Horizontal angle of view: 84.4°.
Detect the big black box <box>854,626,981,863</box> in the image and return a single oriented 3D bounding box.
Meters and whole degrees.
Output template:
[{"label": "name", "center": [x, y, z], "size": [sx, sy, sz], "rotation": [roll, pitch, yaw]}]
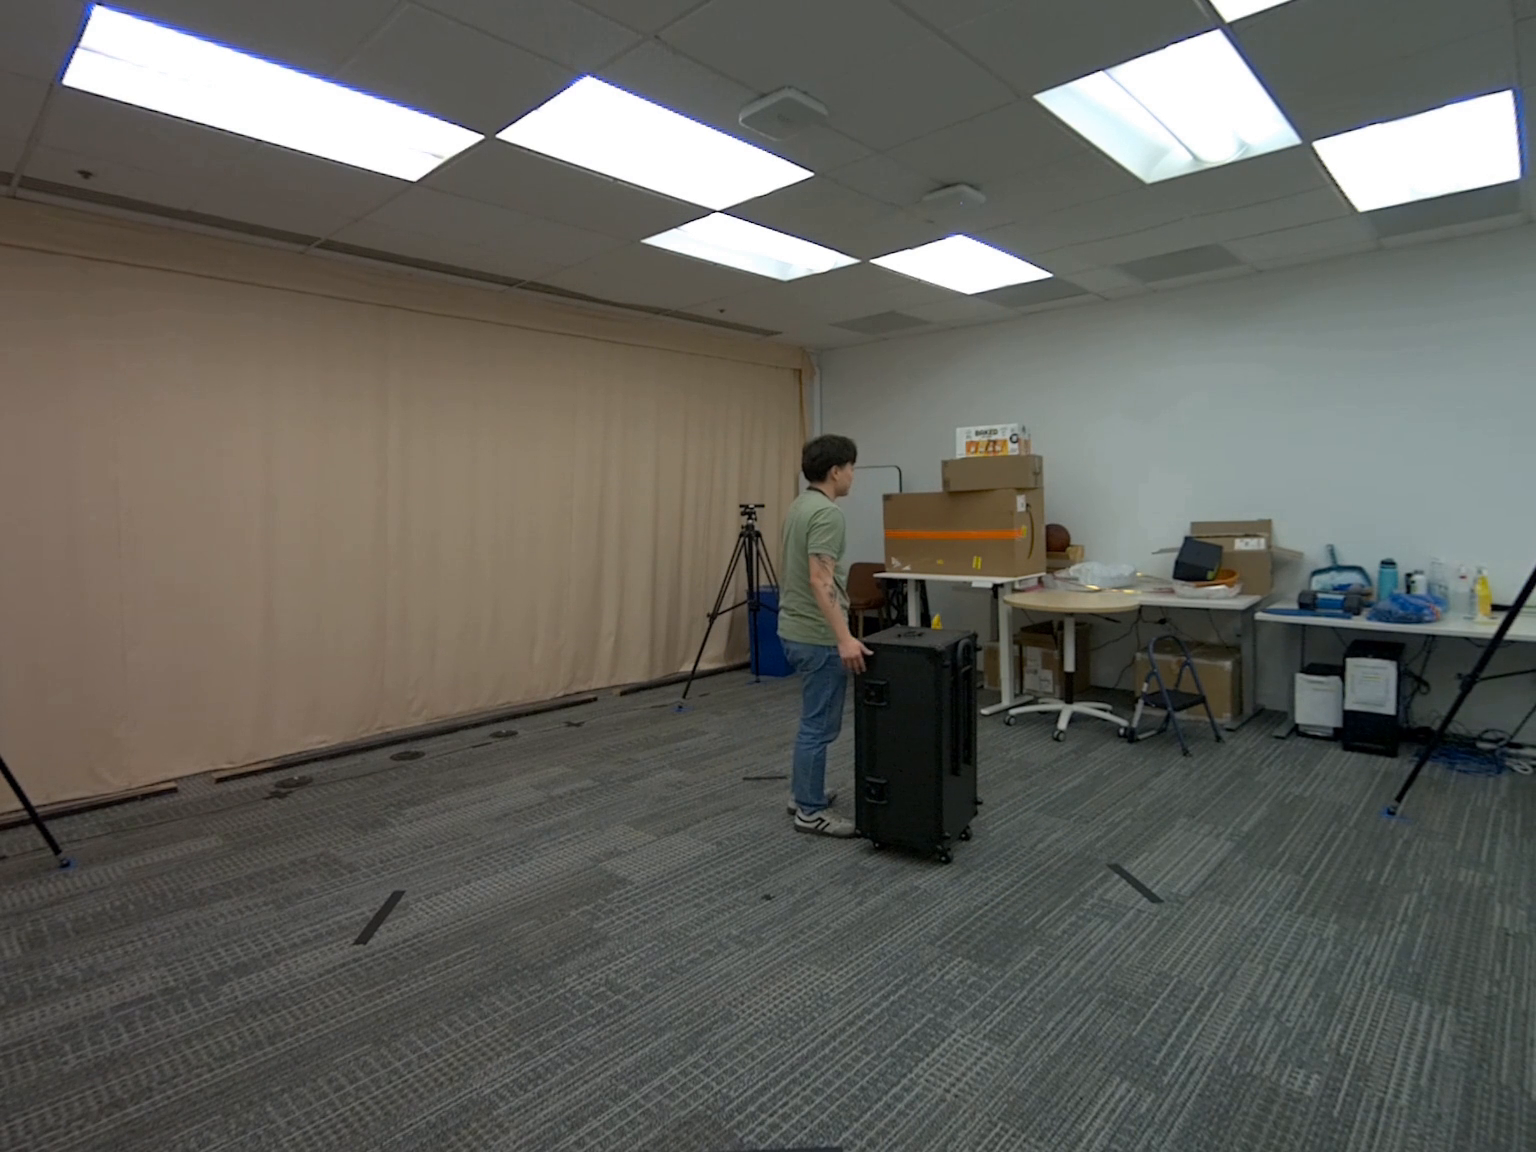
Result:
[{"label": "big black box", "center": [0.633, 0.669, 3.416], "size": [0.408, 0.860, 0.507], "rotation": [2, 4, 31]}]
